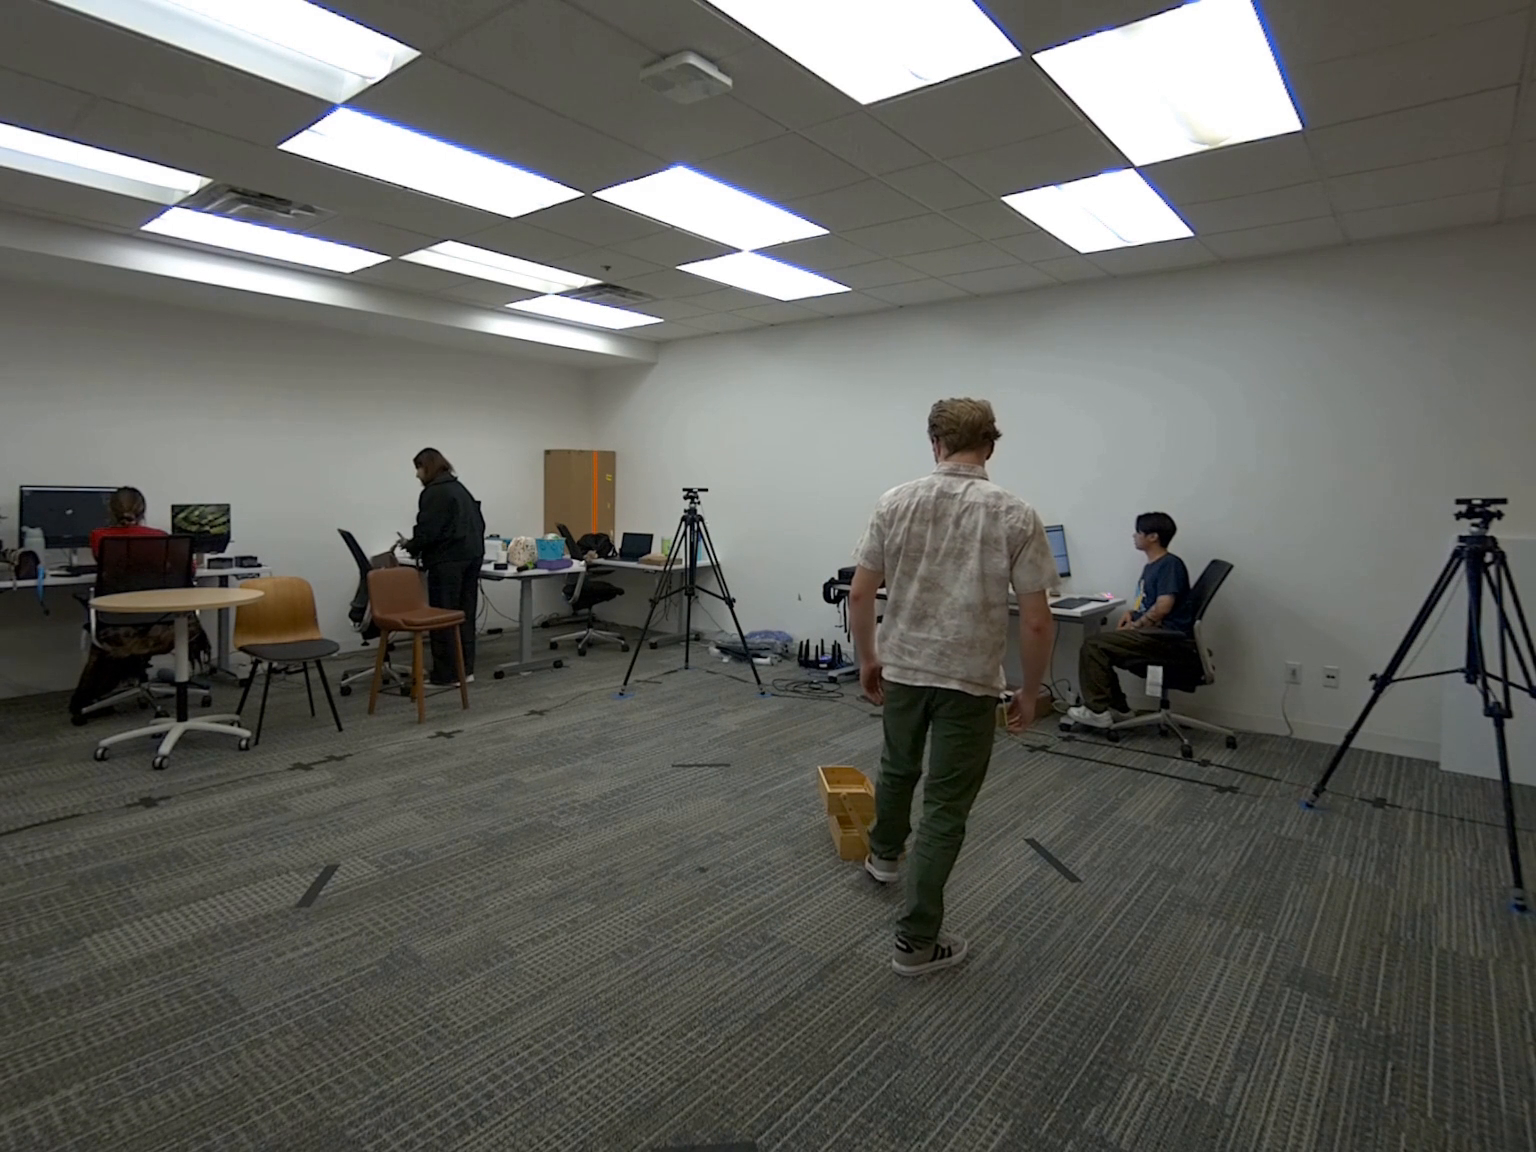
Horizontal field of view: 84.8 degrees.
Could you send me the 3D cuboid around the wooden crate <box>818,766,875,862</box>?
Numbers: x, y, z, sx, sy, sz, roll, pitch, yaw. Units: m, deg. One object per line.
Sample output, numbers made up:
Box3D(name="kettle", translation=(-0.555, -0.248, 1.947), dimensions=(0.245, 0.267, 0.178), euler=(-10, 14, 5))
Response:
Box3D(name="wooden crate", translation=(0.364, 0.925, 3.368), dimensions=(0.301, 0.272, 0.327), euler=(1, 5, -4))
